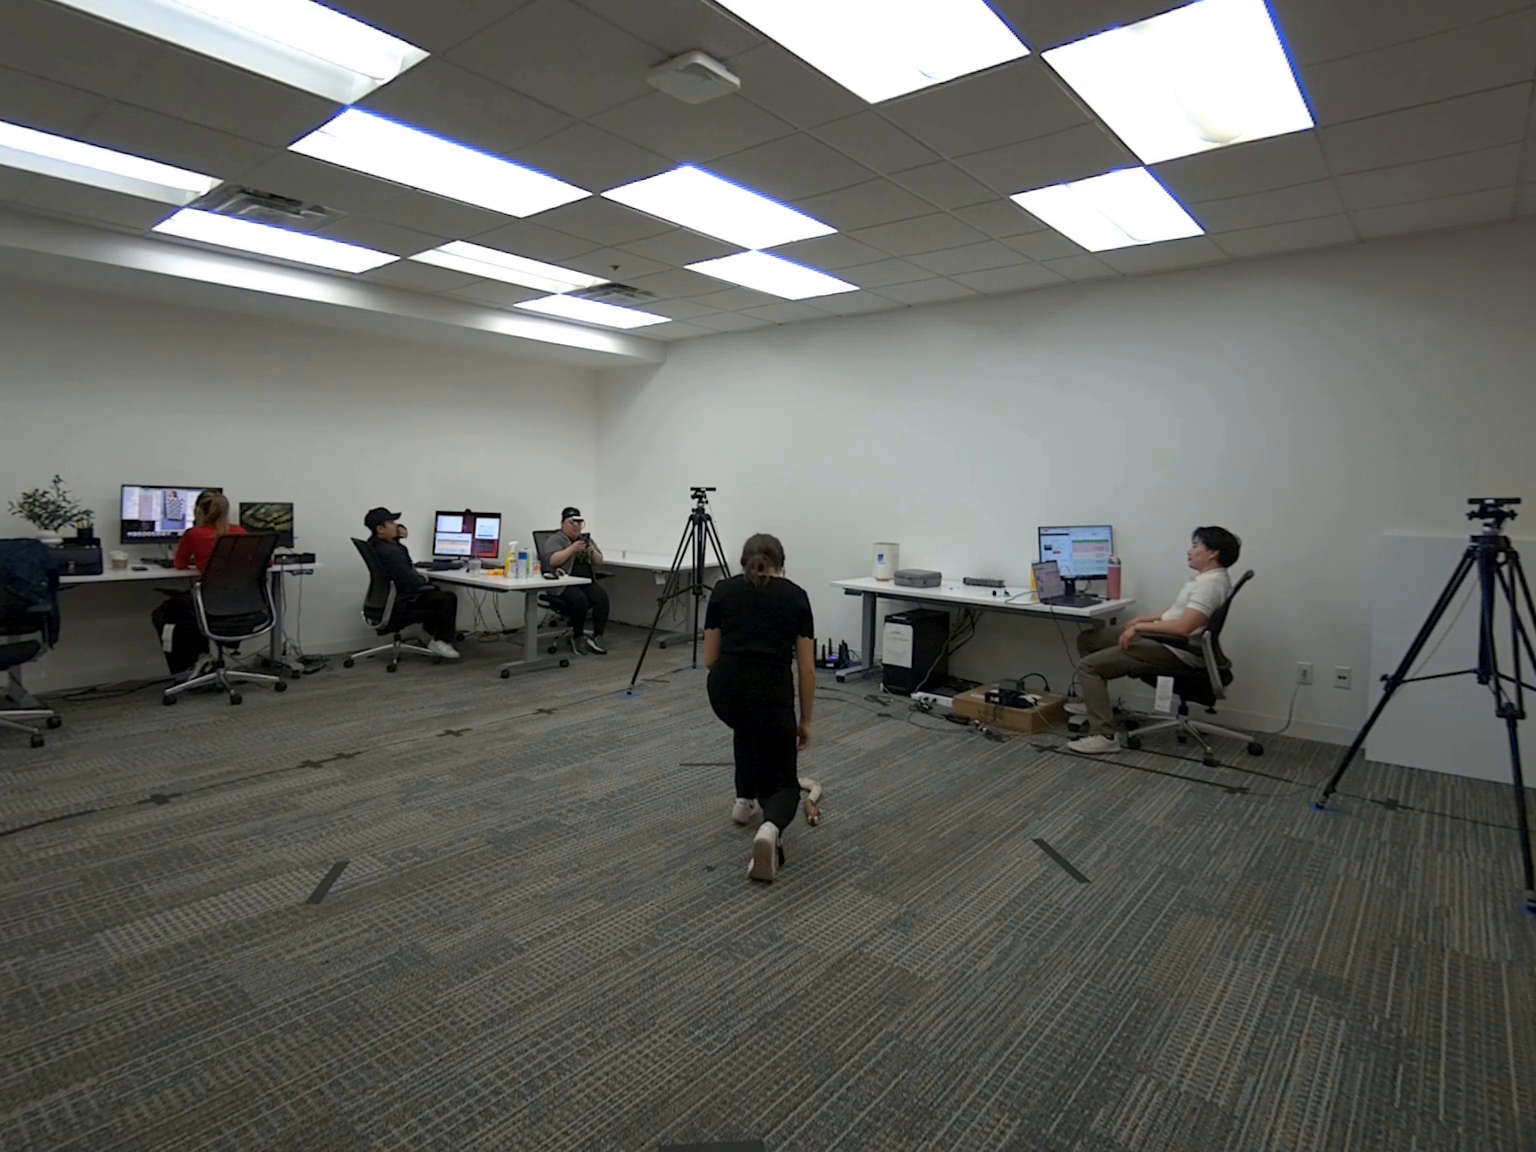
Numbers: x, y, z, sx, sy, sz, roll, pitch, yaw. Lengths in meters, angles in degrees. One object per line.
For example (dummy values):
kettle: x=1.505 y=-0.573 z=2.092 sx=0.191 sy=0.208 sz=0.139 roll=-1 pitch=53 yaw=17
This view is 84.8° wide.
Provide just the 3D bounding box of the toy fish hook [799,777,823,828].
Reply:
toy fish hook: x=0.123 y=0.985 z=3.762 sx=0.225 sy=0.048 sz=0.508 roll=-5 pitch=5 yaw=0
